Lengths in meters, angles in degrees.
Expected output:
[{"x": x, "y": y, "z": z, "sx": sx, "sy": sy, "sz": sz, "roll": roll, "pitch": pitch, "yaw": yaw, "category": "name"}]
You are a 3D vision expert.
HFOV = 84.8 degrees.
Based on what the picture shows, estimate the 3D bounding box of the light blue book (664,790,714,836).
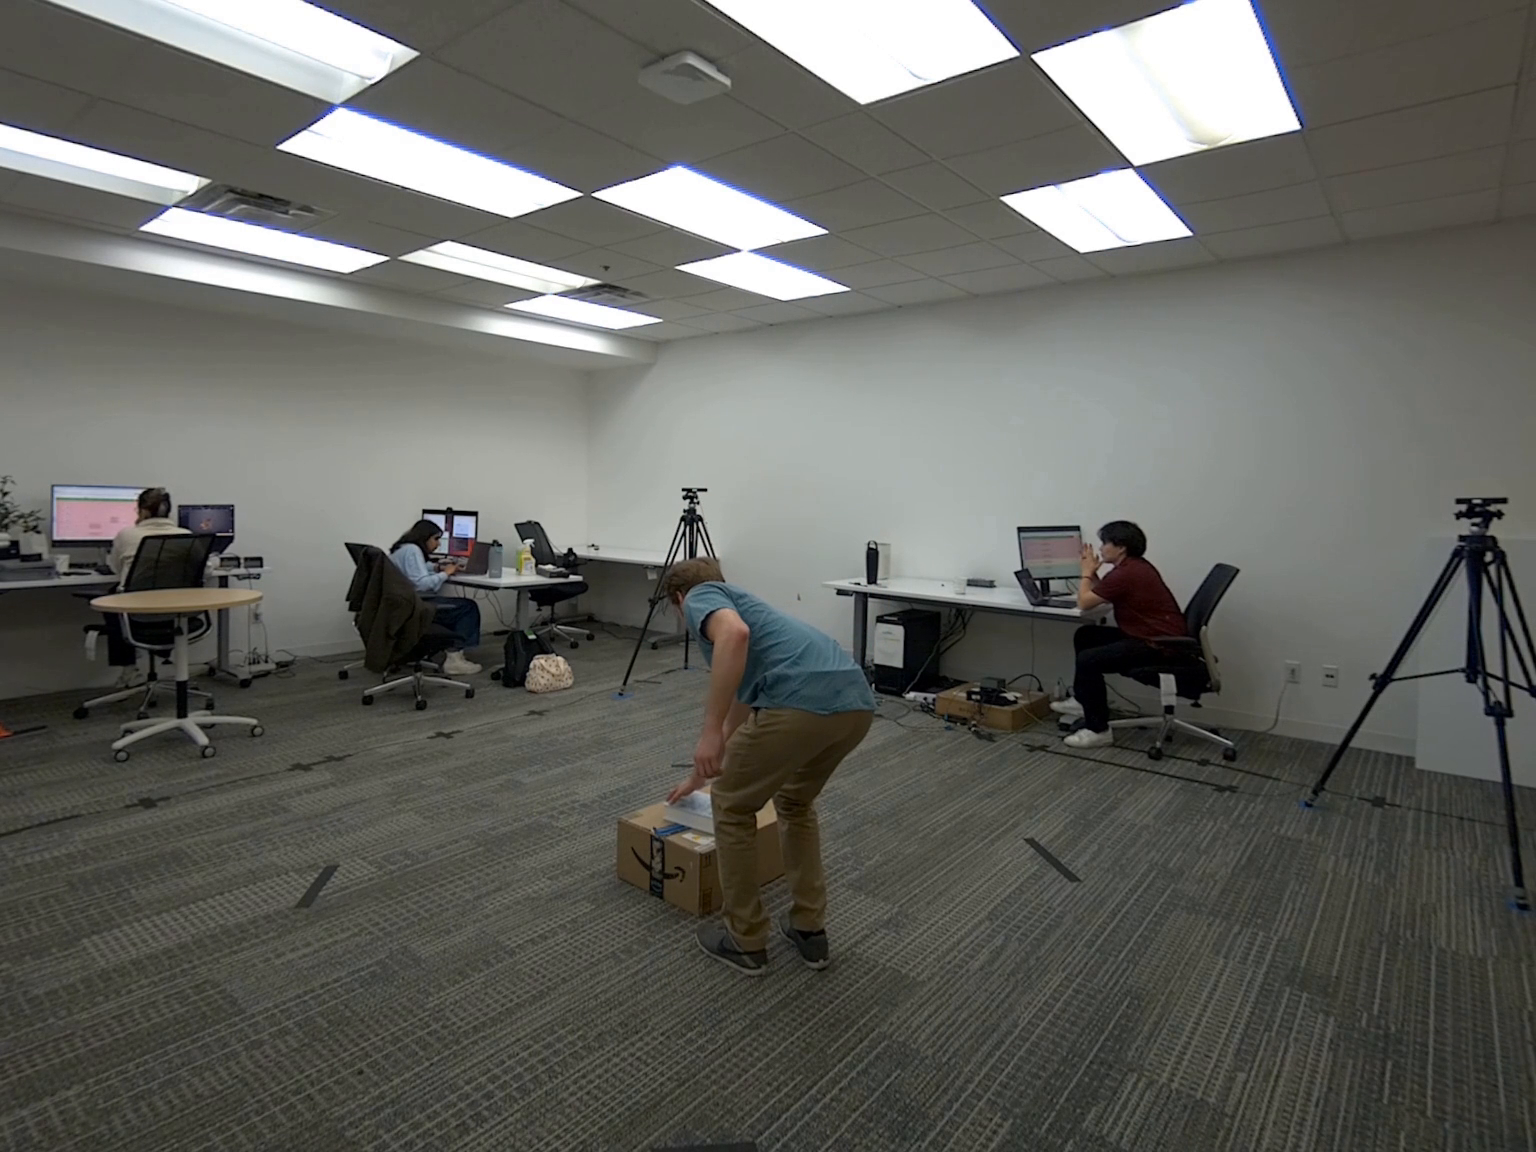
[{"x": -0.225, "y": 0.833, "z": 3.022, "sx": 0.269, "sy": 0.059, "sz": 0.186, "roll": 4, "pitch": 3, "yaw": 33, "category": "light blue book"}]
